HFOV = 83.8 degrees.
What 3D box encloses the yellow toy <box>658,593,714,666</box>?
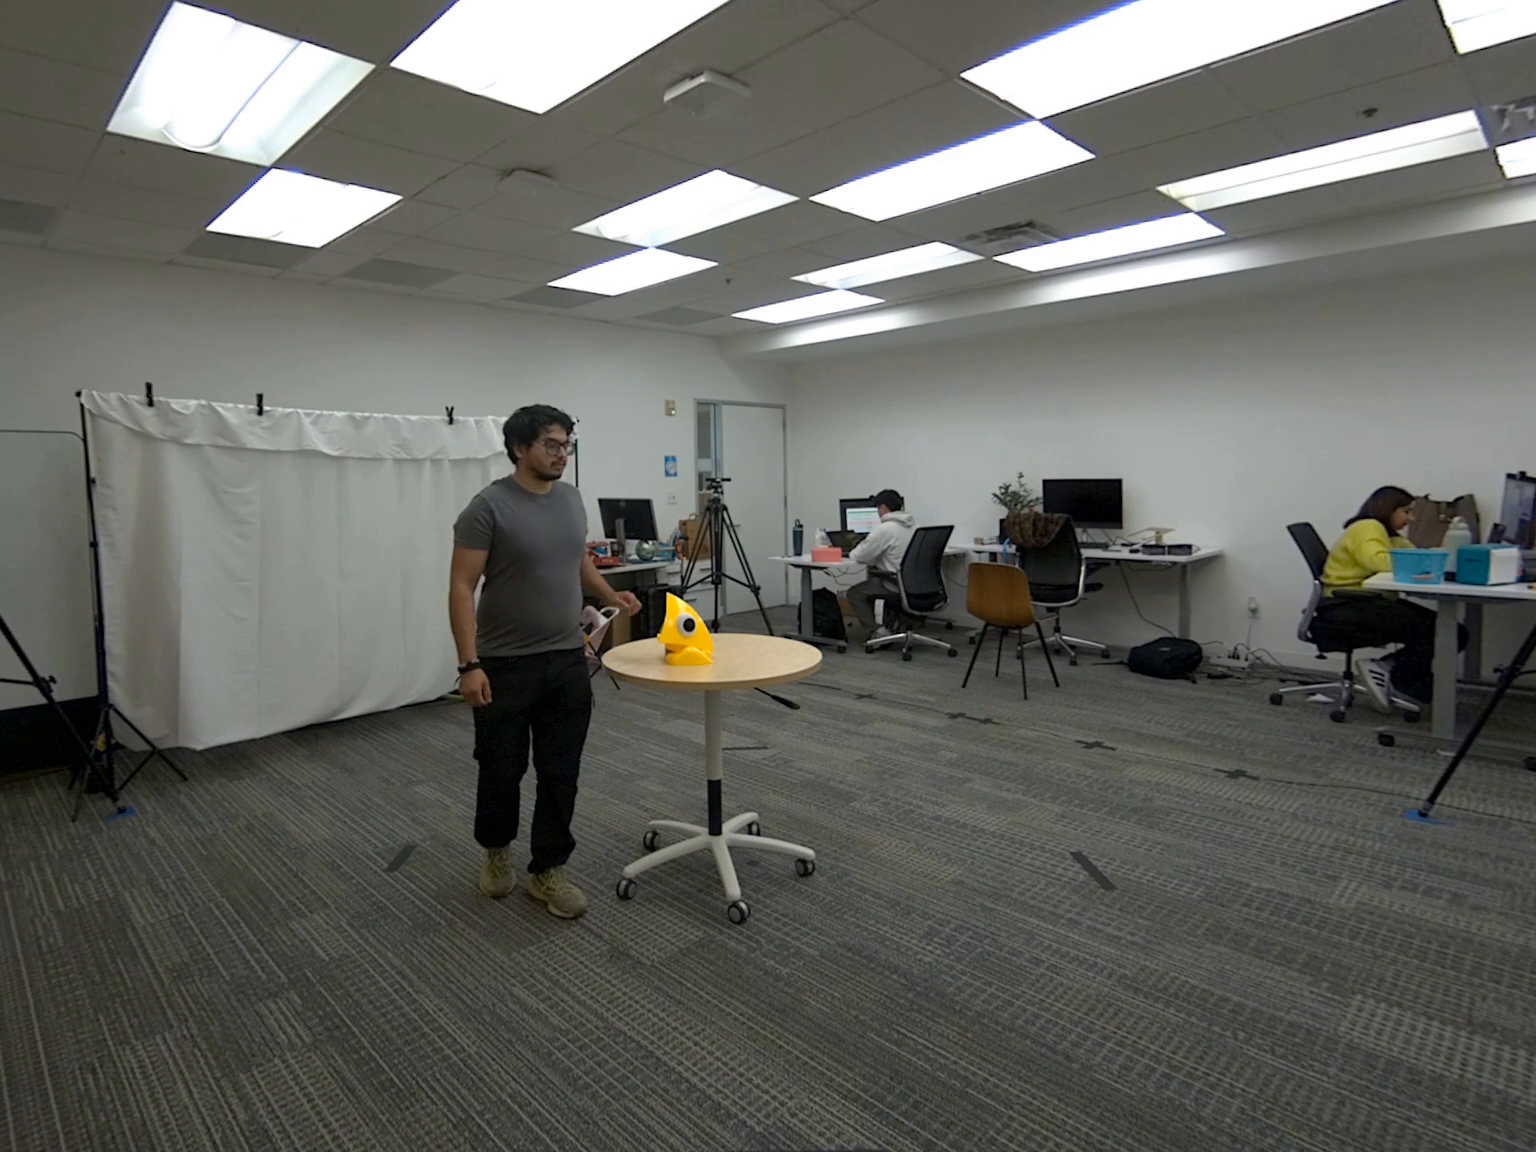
[{"bbox_3d":[-0.281,0.170,2.916,0.192,0.230,0.206,-3,4,-4],"label":"yellow toy"}]
